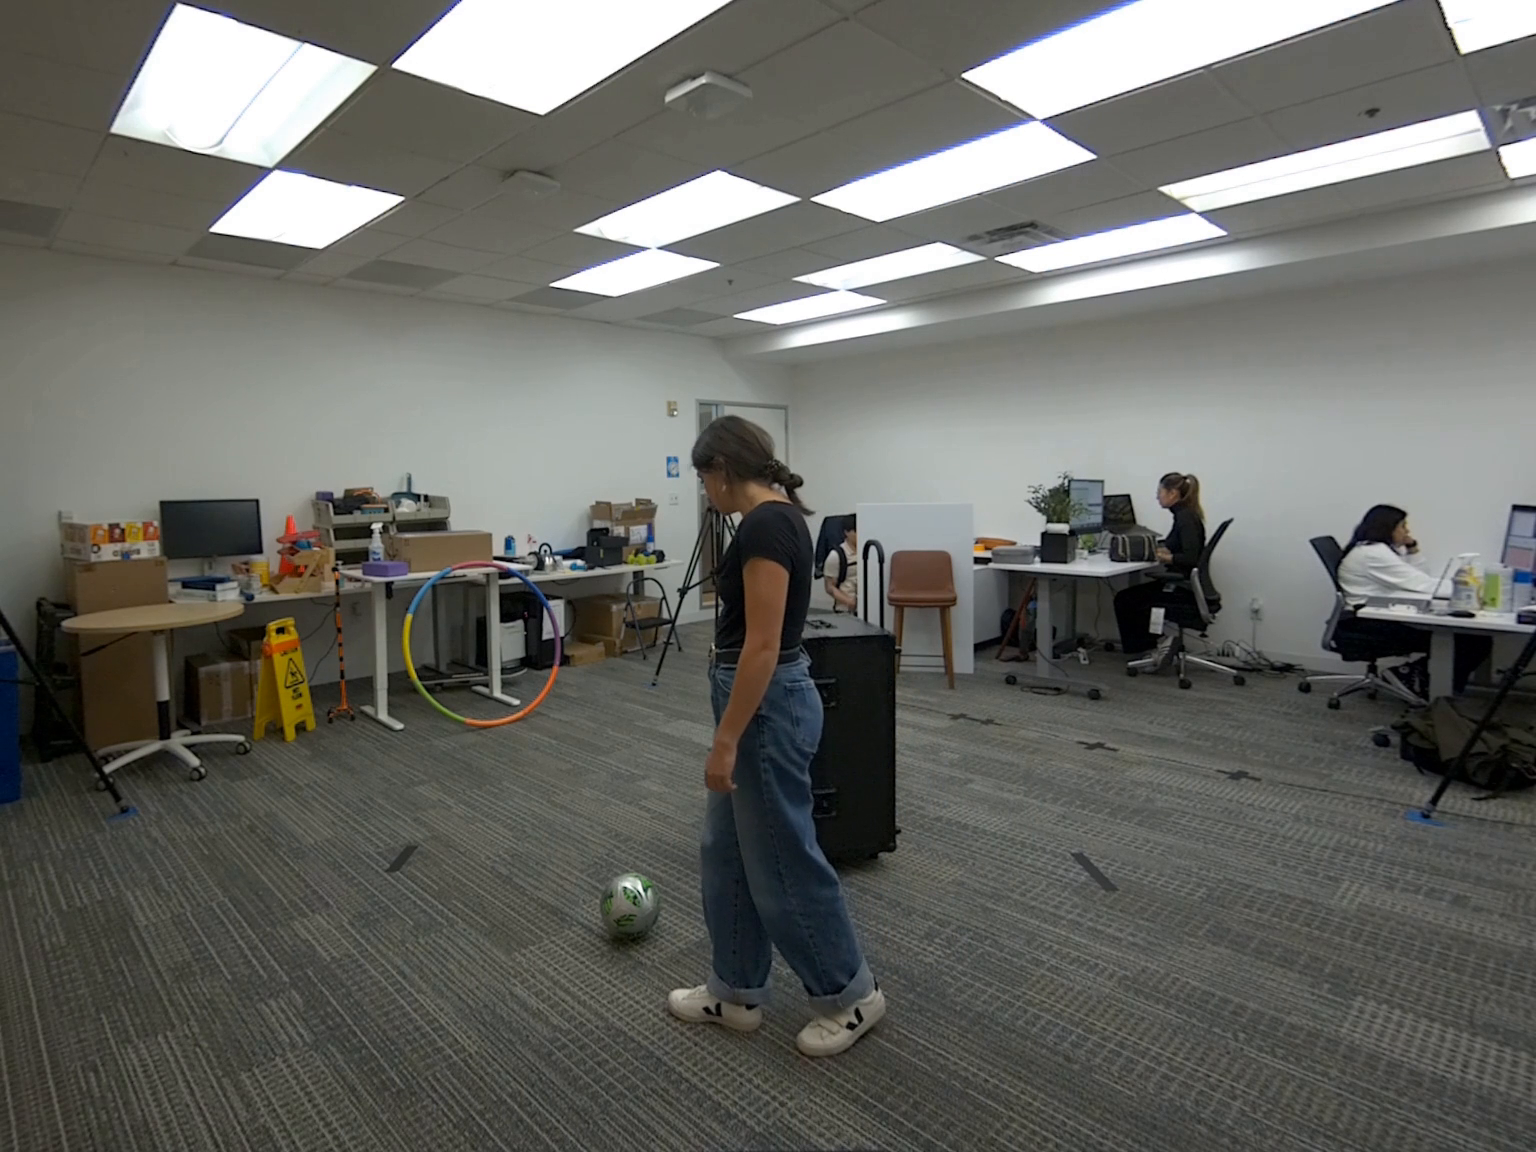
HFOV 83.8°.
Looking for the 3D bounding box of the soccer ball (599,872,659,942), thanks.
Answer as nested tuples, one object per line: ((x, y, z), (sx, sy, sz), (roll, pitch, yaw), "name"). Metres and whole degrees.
((-0.420, 1.017, 2.634), (0.187, 0.187, 0.188), (-1, 5, -2), "soccer ball")
